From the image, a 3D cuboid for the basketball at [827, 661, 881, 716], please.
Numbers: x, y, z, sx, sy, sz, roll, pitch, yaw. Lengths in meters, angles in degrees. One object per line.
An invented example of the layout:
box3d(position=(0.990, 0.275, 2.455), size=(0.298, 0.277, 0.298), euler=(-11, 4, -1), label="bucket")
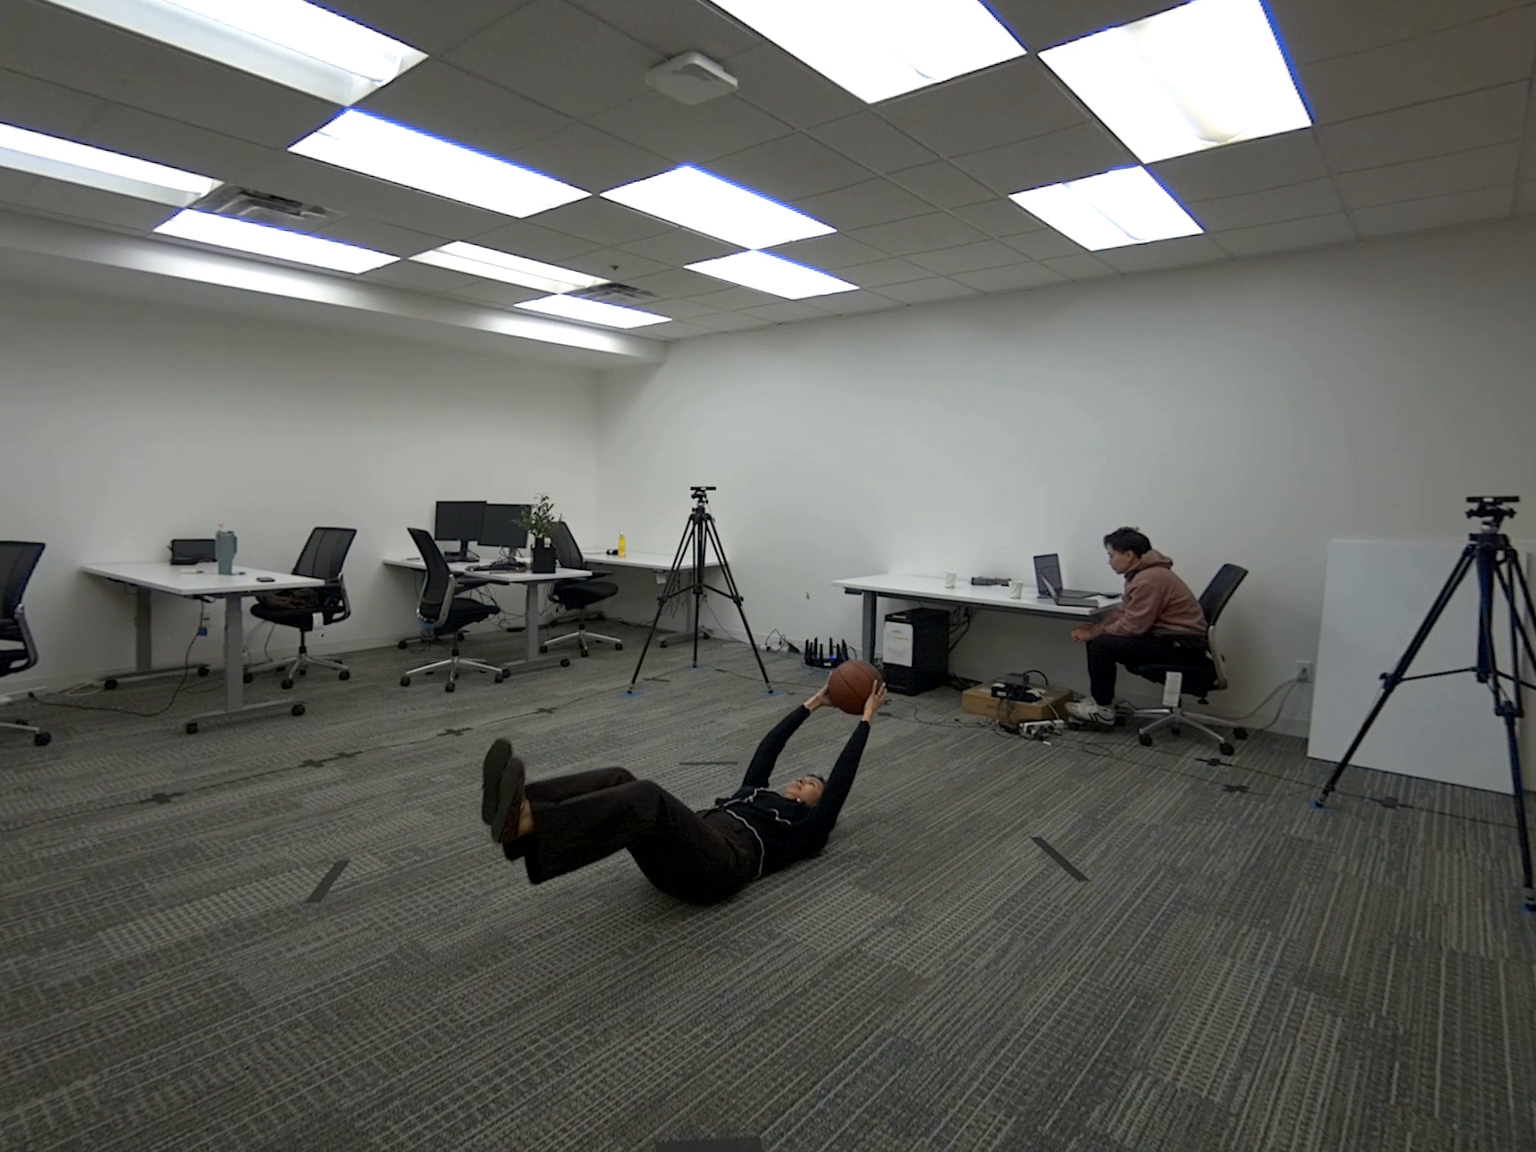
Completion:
box3d(position=(0.369, 0.475, 3.685), size=(0.236, 0.235, 0.237), euler=(1, 4, -2), label="basketball")
